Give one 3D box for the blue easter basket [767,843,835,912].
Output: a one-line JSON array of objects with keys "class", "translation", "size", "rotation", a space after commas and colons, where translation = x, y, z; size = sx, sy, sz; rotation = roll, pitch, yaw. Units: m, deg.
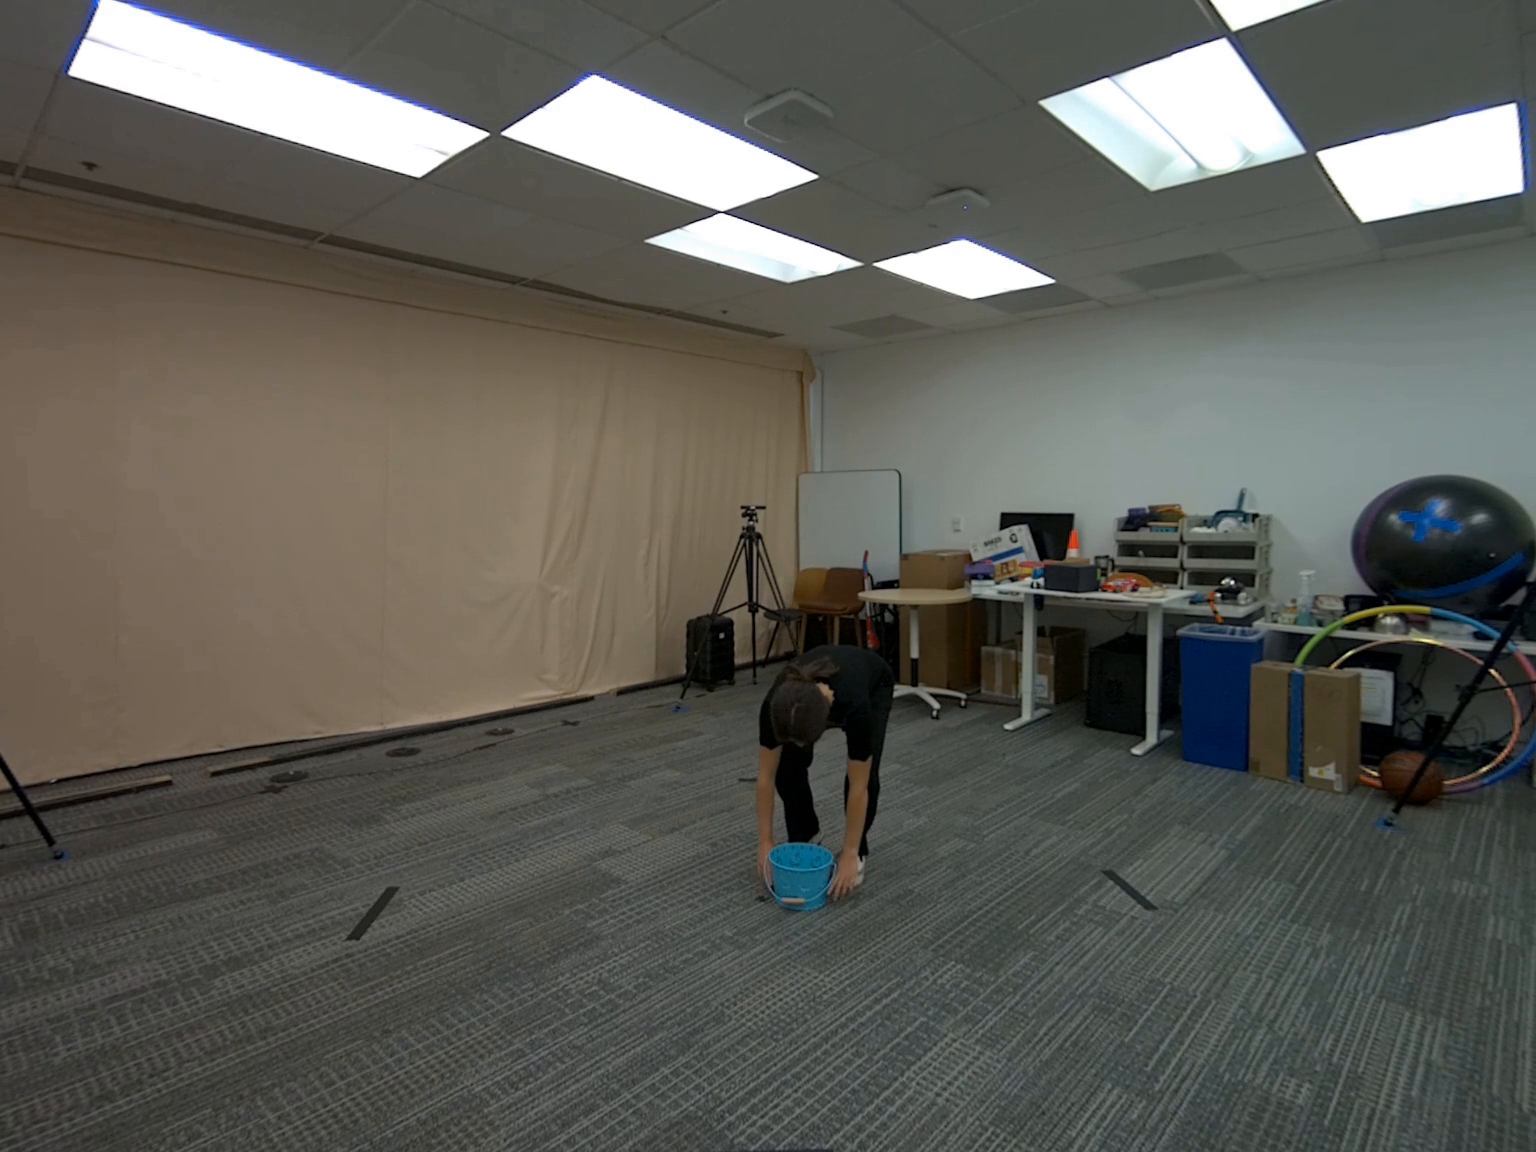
[{"class": "blue easter basket", "translation": [0.117, 1.066, 2.992], "size": [0.243, 0.155, 0.244], "rotation": [-1, 4, -2]}]
